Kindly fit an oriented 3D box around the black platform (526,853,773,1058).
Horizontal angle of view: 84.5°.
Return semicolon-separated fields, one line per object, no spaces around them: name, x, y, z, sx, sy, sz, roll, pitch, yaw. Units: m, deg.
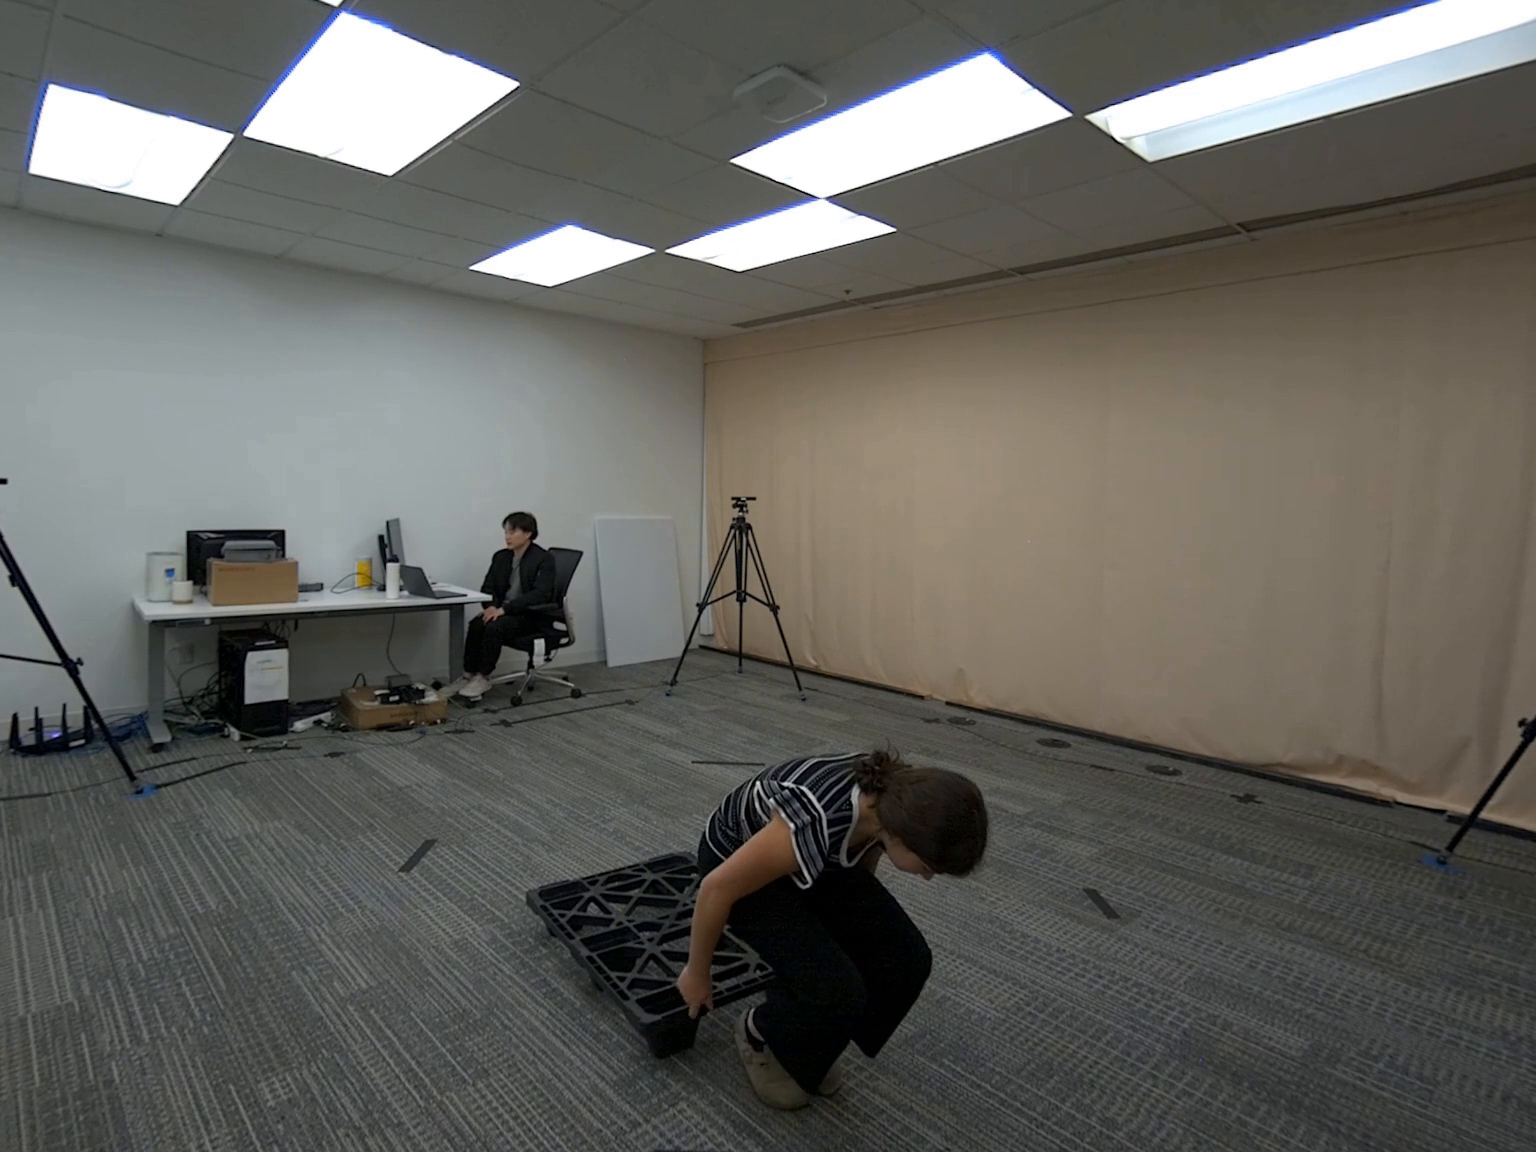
black platform;-0.305;1.092;2.502;0.592;0.143;0.825;-4;7;-35
